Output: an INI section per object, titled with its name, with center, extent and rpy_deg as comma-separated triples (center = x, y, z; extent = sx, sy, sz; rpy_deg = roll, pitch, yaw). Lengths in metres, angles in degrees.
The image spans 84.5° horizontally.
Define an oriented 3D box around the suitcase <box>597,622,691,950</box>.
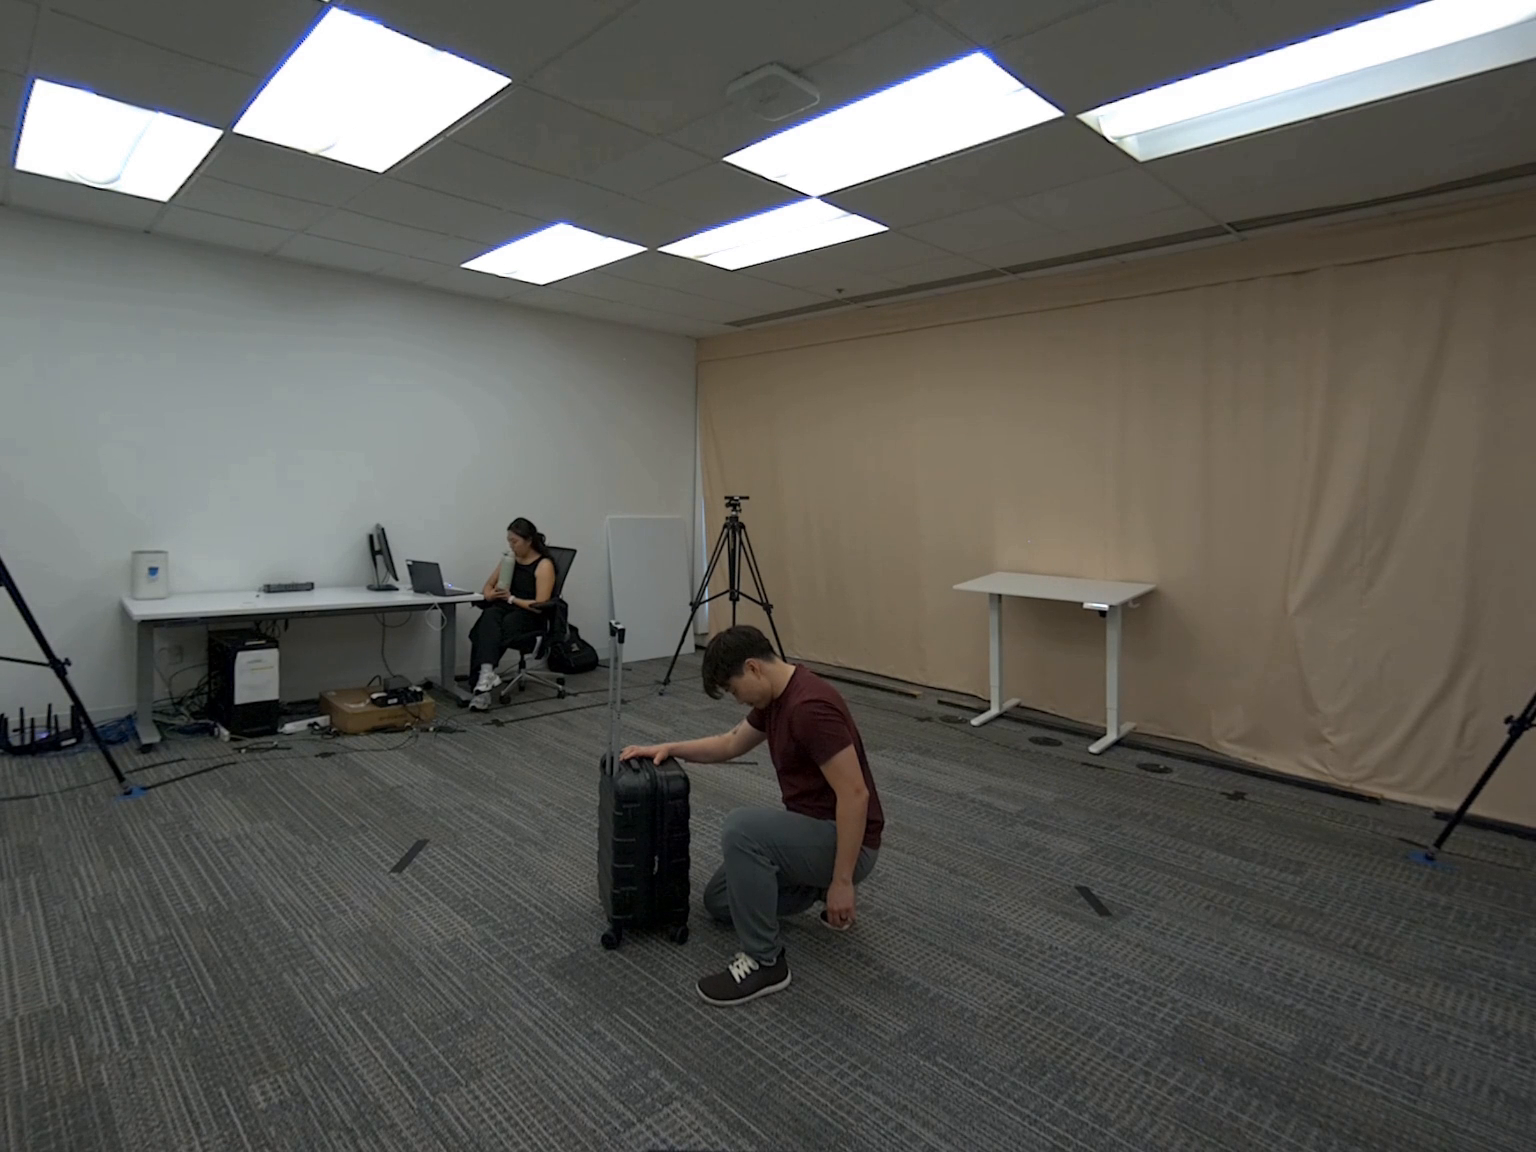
[suitcase]
center = -0.404, 0.651, 2.733
extent = 0.254, 0.976, 0.389
rpy_deg = 1, 4, -15
